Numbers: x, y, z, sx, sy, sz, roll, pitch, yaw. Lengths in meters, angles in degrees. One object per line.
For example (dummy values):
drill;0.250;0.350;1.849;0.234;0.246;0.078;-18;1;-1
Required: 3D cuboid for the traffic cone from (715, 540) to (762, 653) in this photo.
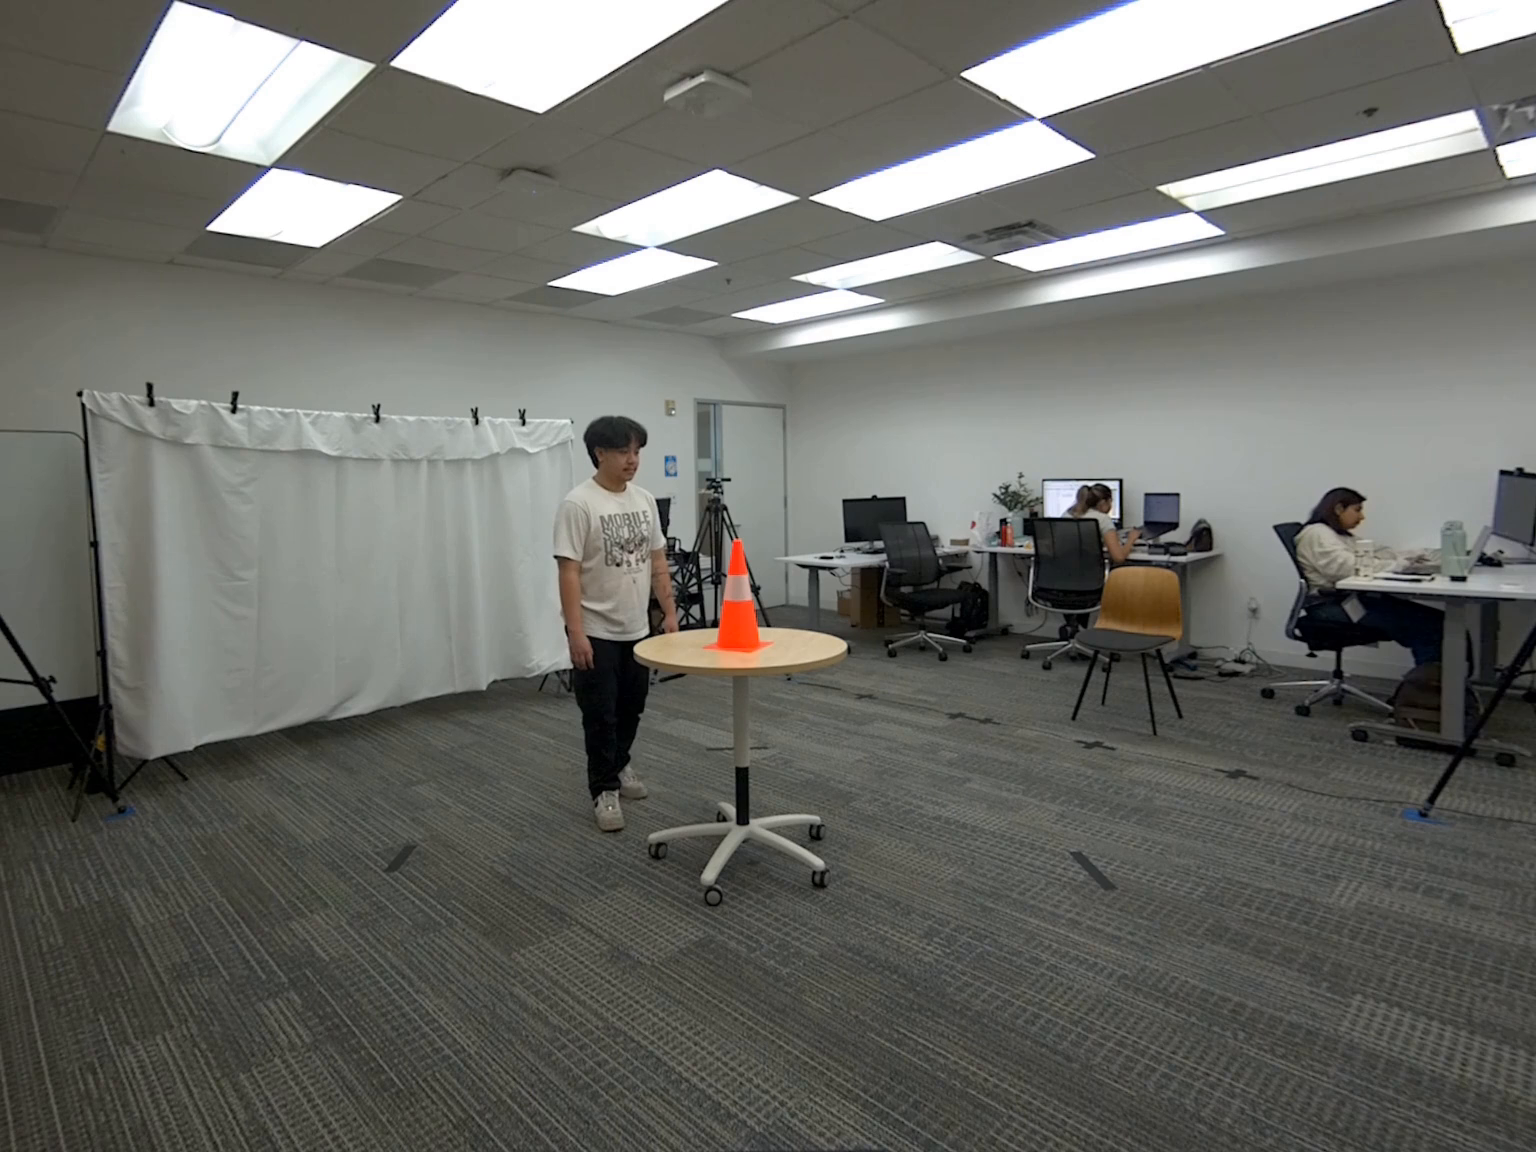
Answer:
traffic cone;-0.109;0.065;3.055;0.208;0.382;0.201;0;5;24
